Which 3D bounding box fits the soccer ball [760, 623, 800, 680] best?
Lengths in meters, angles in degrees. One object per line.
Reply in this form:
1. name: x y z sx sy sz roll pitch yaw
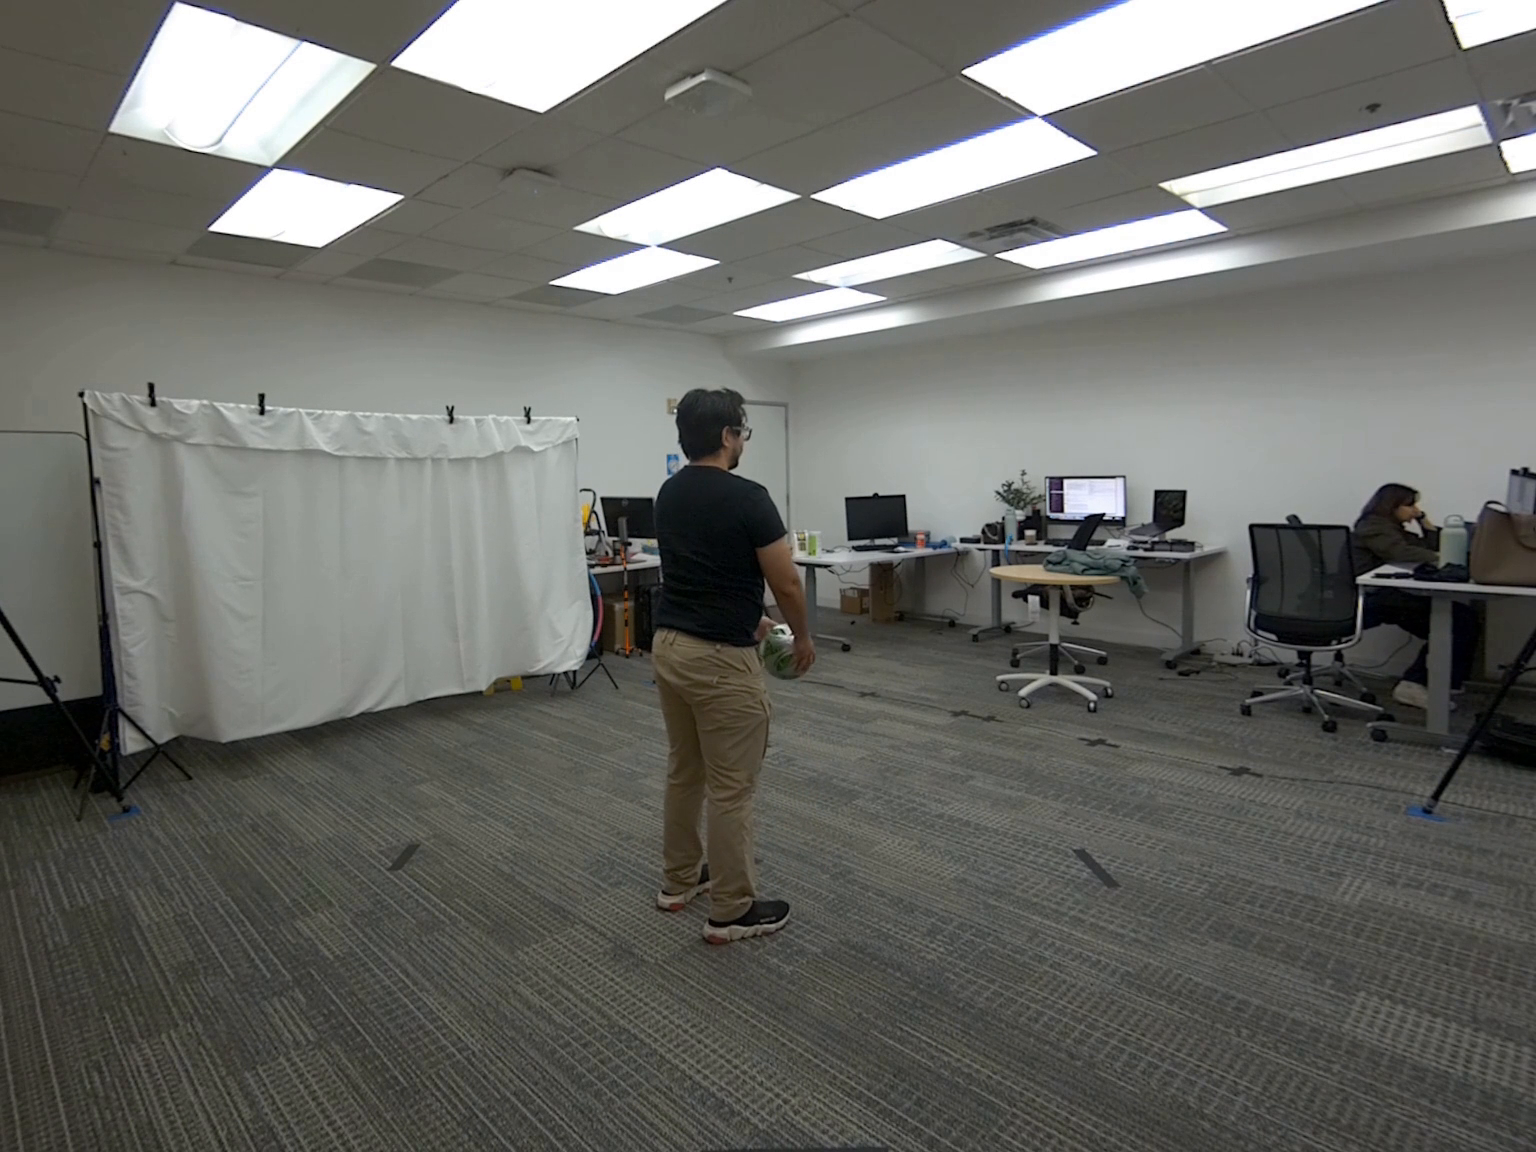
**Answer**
1. soccer ball: 0.065 0.251 2.866 0.187 0.187 0.188 -1 5 -2
